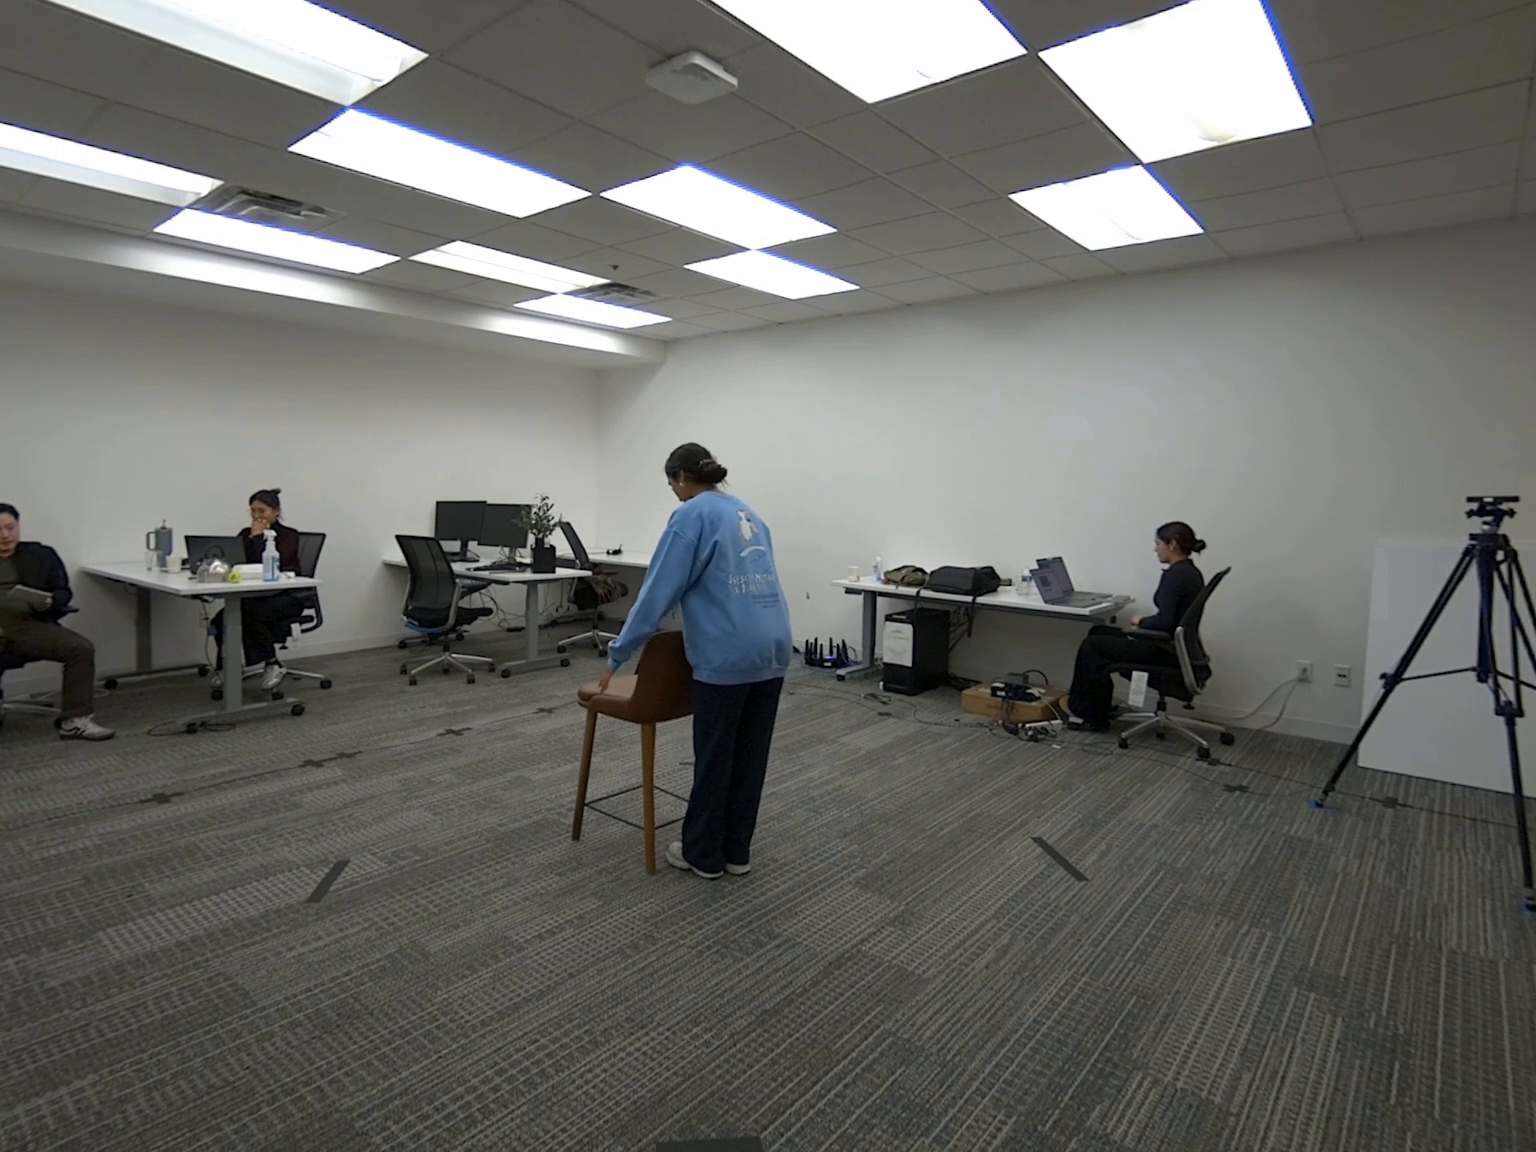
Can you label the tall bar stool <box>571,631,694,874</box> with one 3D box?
[{"bbox_3d":[-0.469,0.605,3.308,0.484,0.886,0.443,6,6,41],"label":"tall bar stool"}]
